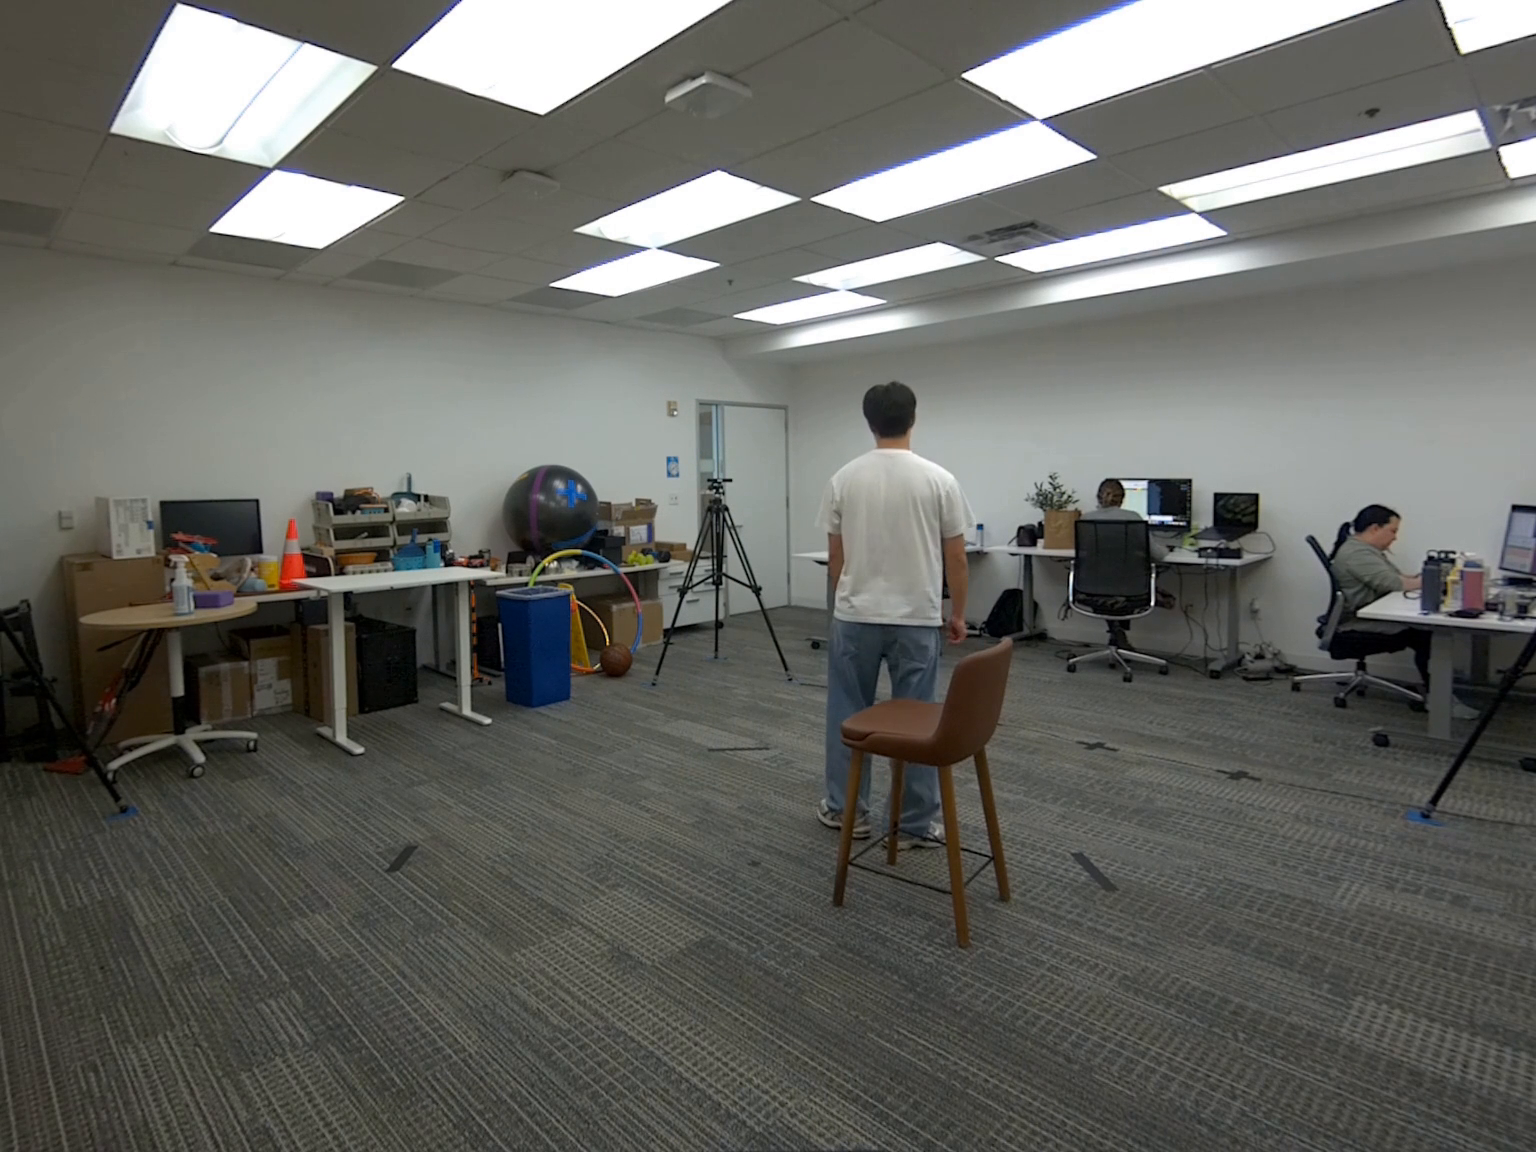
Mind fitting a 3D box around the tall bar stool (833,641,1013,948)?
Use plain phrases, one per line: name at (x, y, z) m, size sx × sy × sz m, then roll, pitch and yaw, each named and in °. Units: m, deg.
tall bar stool at (0.512, 0.643, 2.775) m, size 0.482 × 0.885 × 0.445 m, roll 5°, pitch 7°, yaw 37°
